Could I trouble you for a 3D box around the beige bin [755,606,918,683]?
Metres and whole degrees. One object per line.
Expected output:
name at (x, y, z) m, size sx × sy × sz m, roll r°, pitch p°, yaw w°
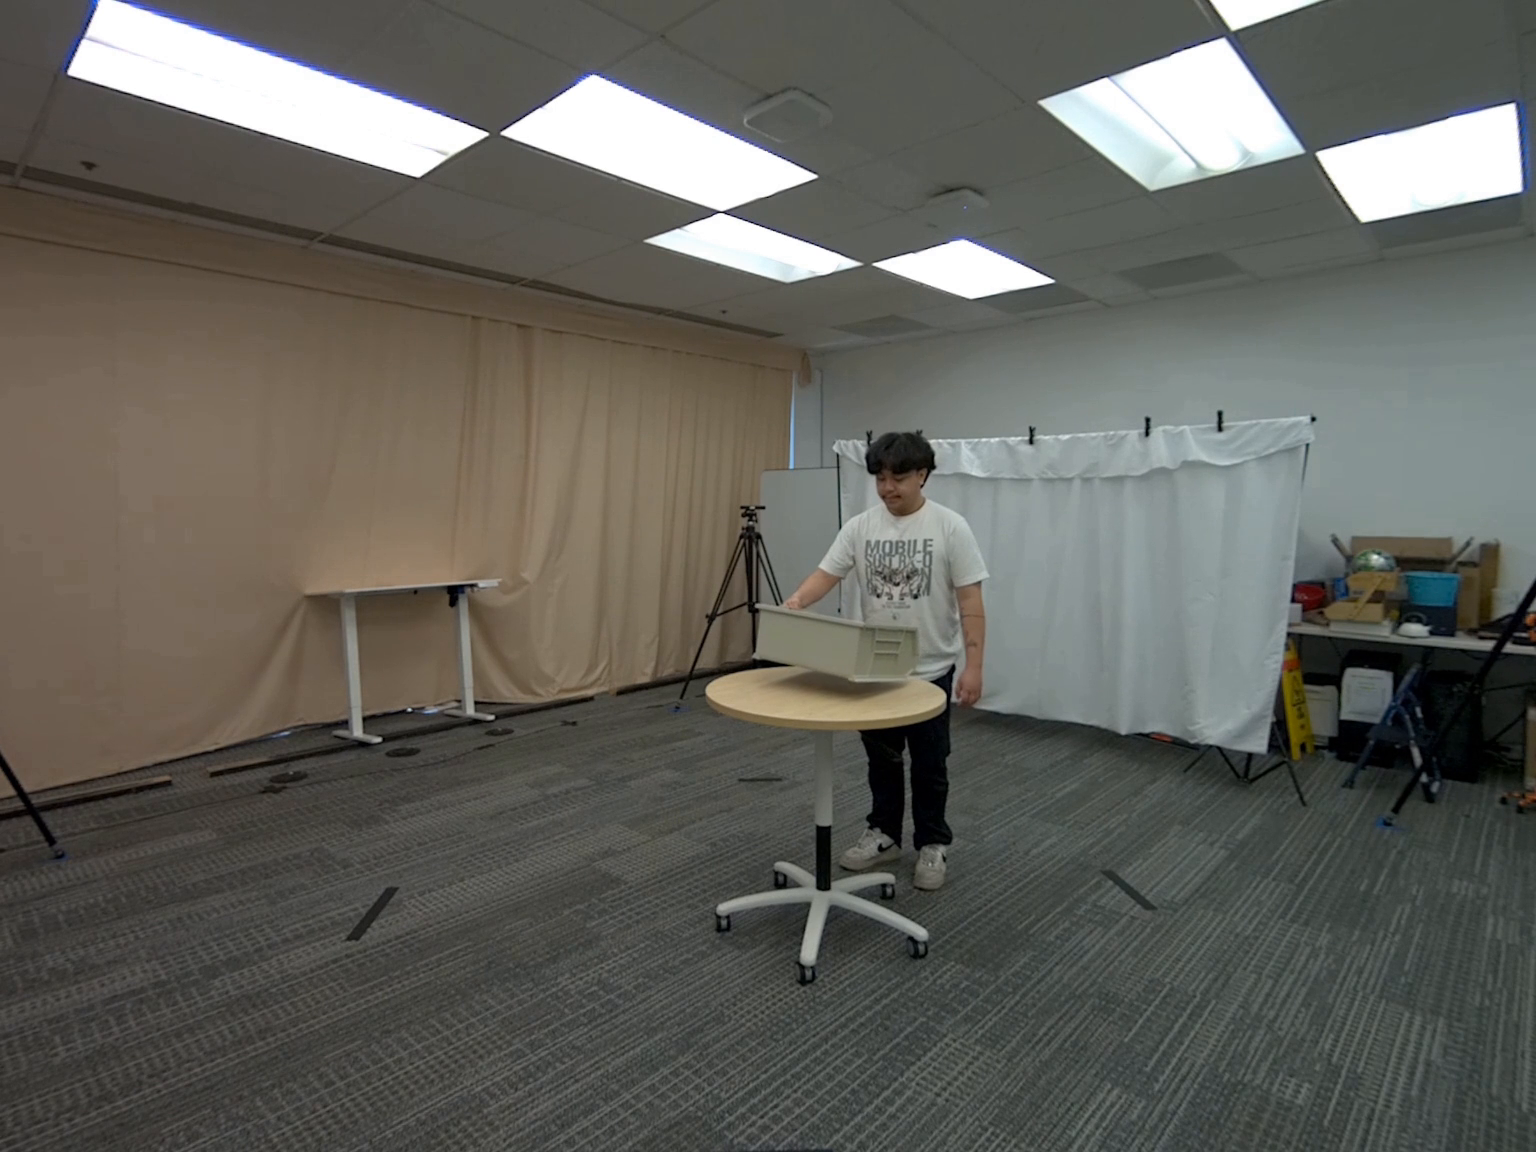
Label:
beige bin at (0.224, 0.225, 2.793) m, size 0.437 × 0.189 × 0.364 m, roll 10°, pitch 1°, yaw 40°
